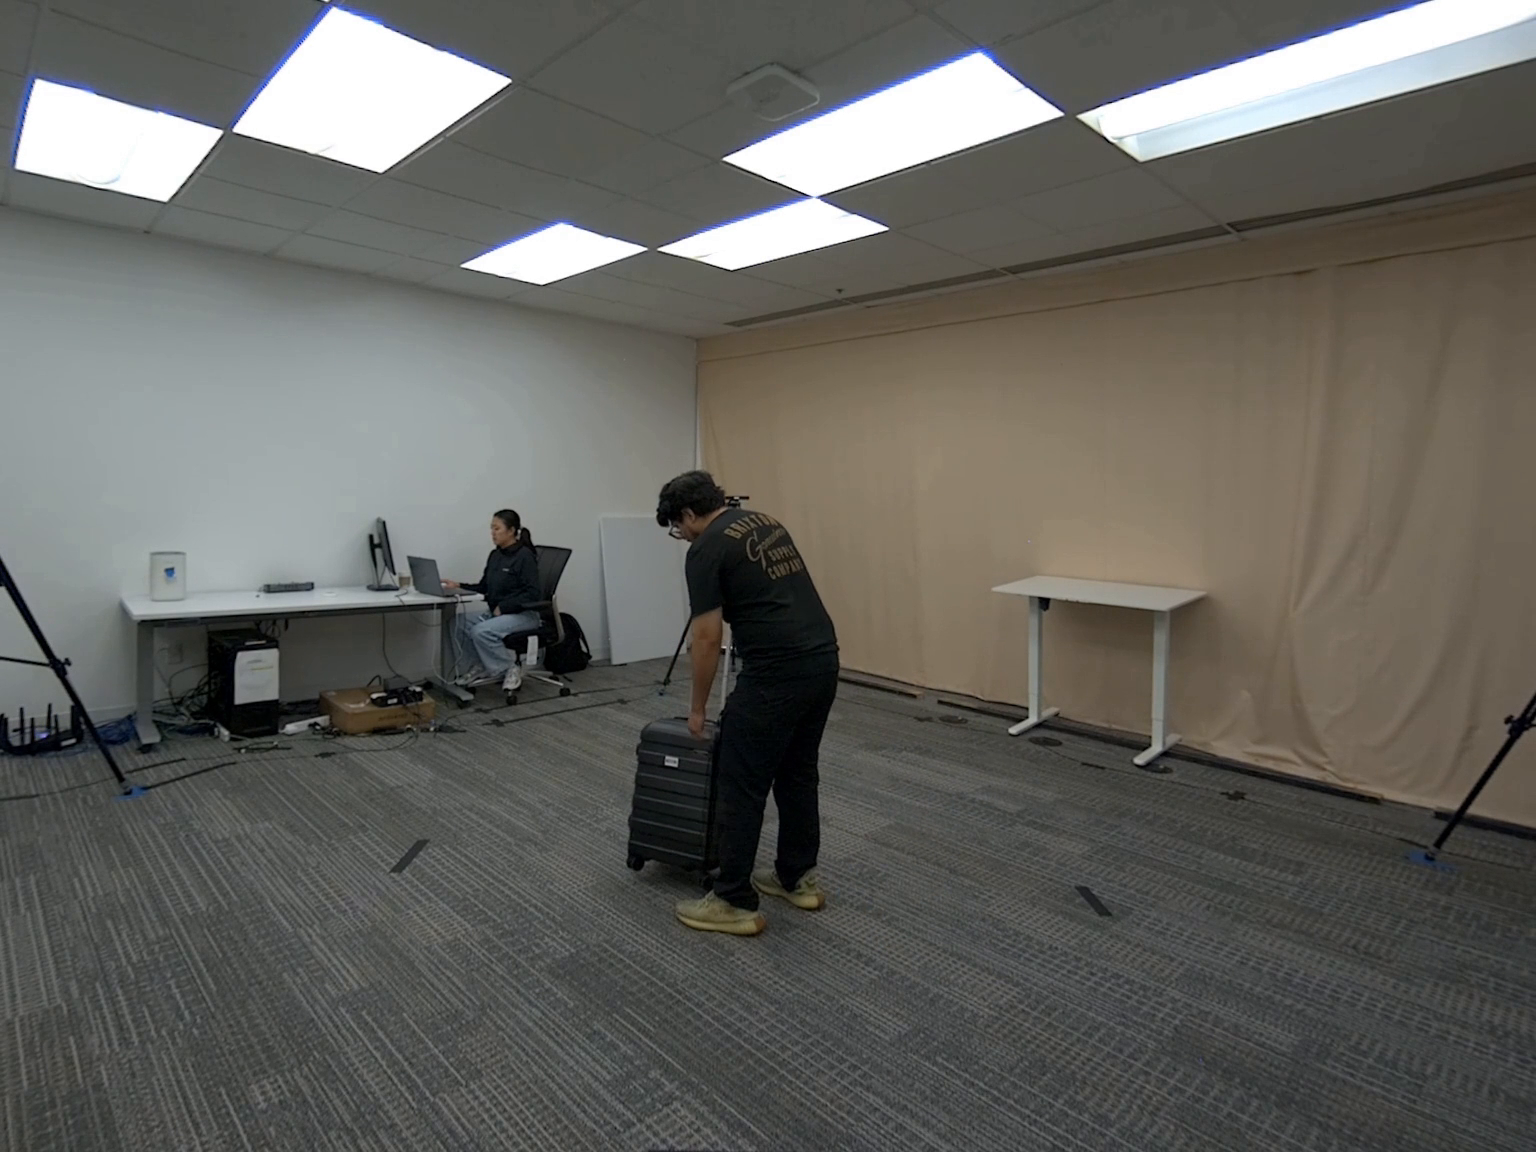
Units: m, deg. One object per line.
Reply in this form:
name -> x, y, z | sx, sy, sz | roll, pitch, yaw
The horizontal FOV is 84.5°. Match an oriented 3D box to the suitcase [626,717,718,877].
suitcase -> -0.290, 0.608, 3.114 | 0.391, 0.982, 0.251 | 3, -6, 24
